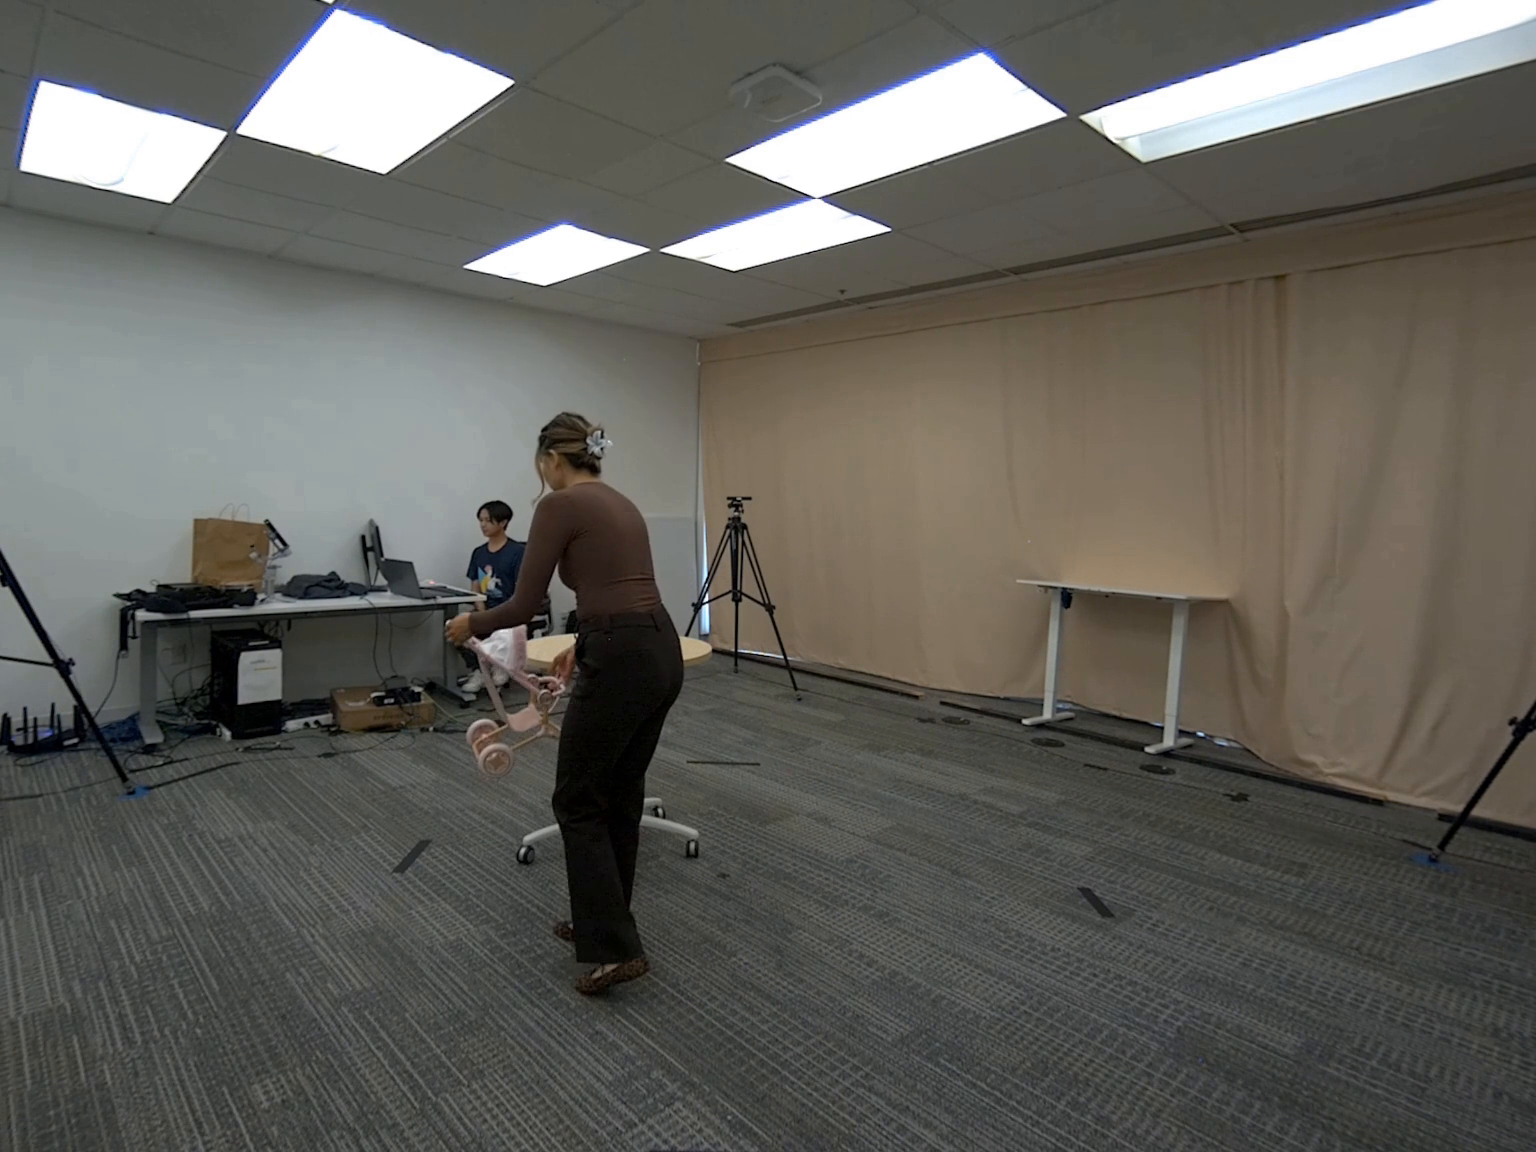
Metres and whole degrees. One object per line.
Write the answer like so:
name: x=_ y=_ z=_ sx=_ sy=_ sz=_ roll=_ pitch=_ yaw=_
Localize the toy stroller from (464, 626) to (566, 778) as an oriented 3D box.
toy stroller: x=-0.799 y=0.377 z=2.713 sx=0.337 sy=0.530 sz=0.287 roll=-10 pitch=11 yaw=-19
